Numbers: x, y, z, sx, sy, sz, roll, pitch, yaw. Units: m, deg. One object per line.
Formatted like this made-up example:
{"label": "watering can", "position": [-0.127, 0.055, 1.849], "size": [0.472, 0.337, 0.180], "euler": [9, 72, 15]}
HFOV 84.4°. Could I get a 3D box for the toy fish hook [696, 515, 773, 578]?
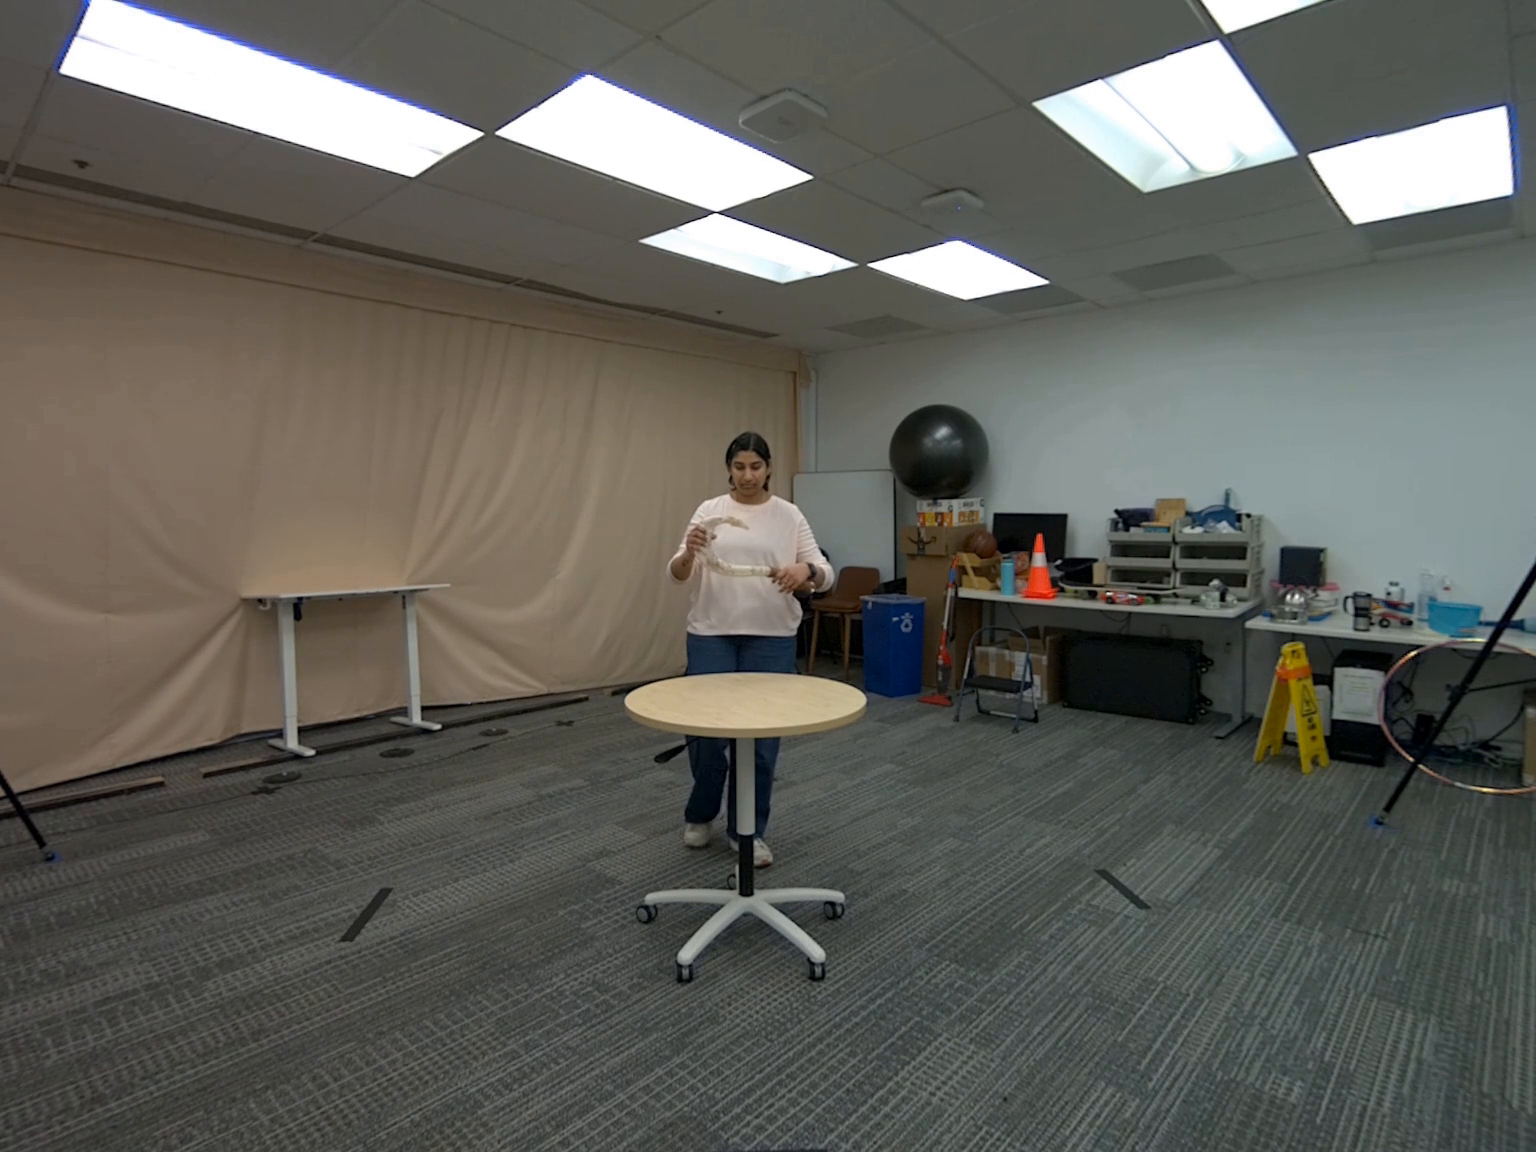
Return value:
{"label": "toy fish hook", "position": [-0.035, -0.078, 3.064], "size": [0.494, 0.225, 0.049], "euler": [17, -9, -21]}
